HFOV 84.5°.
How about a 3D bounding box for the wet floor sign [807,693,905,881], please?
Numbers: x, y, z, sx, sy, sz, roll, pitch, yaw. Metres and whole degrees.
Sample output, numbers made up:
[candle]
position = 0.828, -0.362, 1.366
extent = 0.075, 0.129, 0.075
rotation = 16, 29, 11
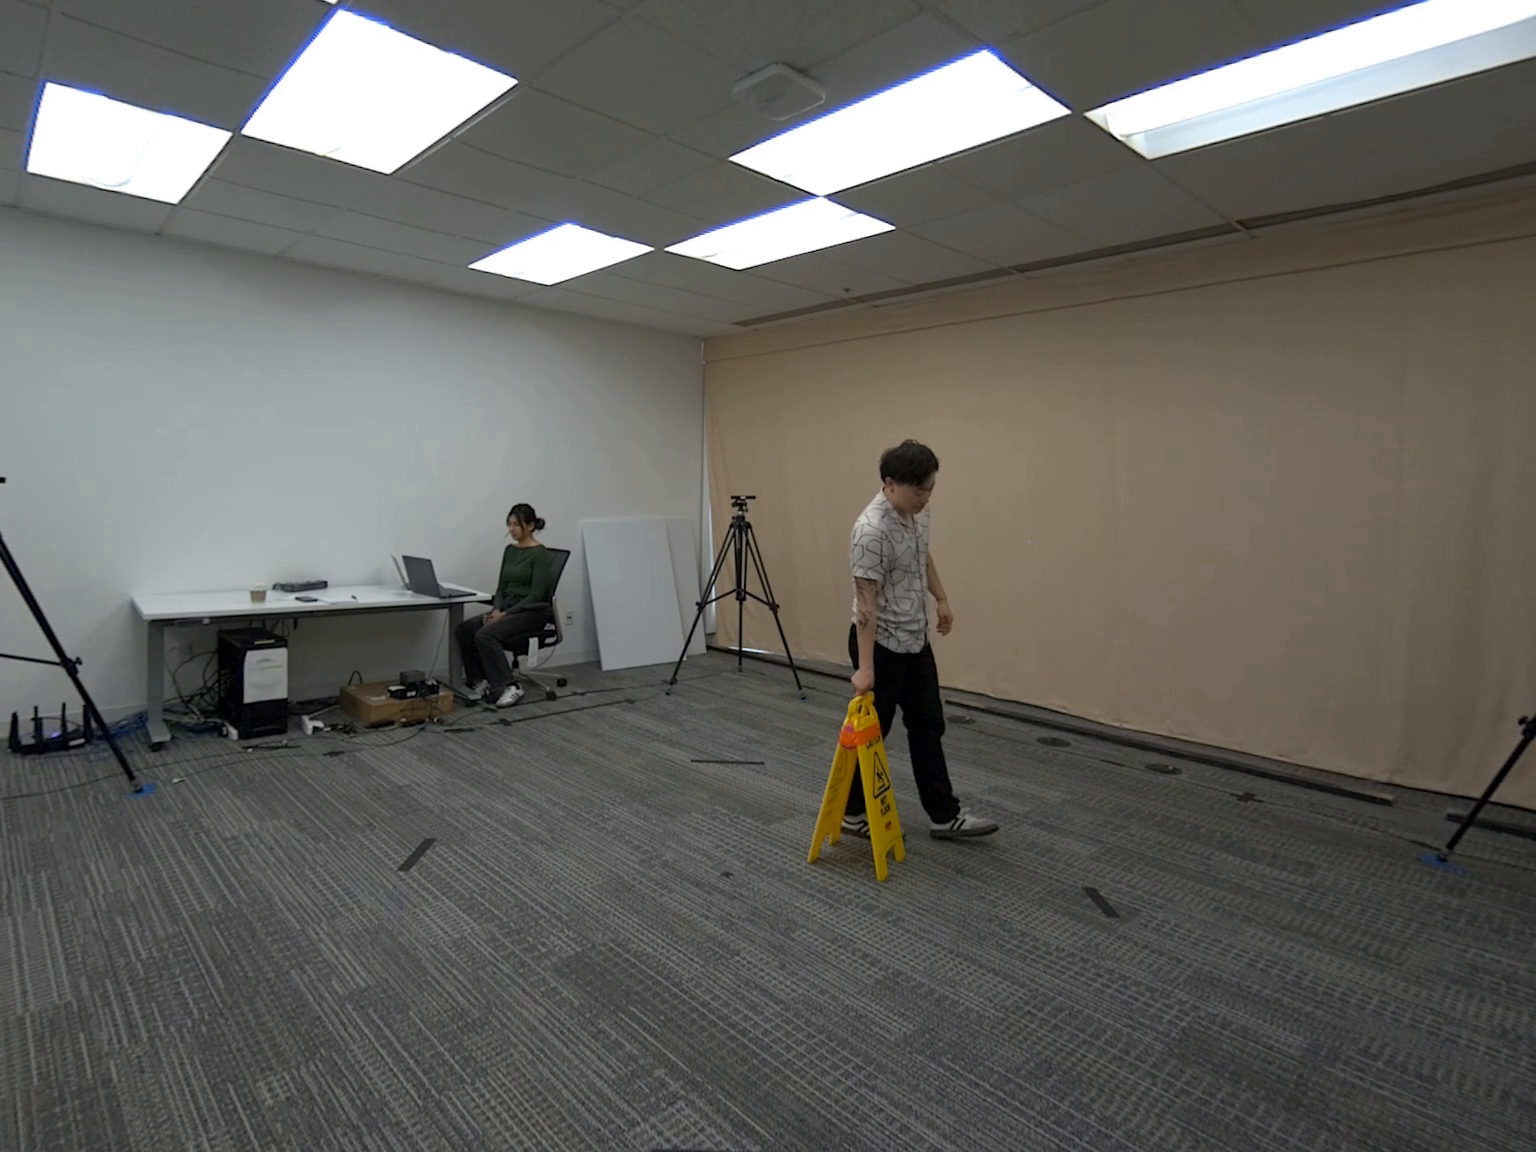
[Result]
[wet floor sign]
position = 0.341, 0.777, 3.243
extent = 0.296, 0.645, 0.277
rotation = 2, 2, 29
